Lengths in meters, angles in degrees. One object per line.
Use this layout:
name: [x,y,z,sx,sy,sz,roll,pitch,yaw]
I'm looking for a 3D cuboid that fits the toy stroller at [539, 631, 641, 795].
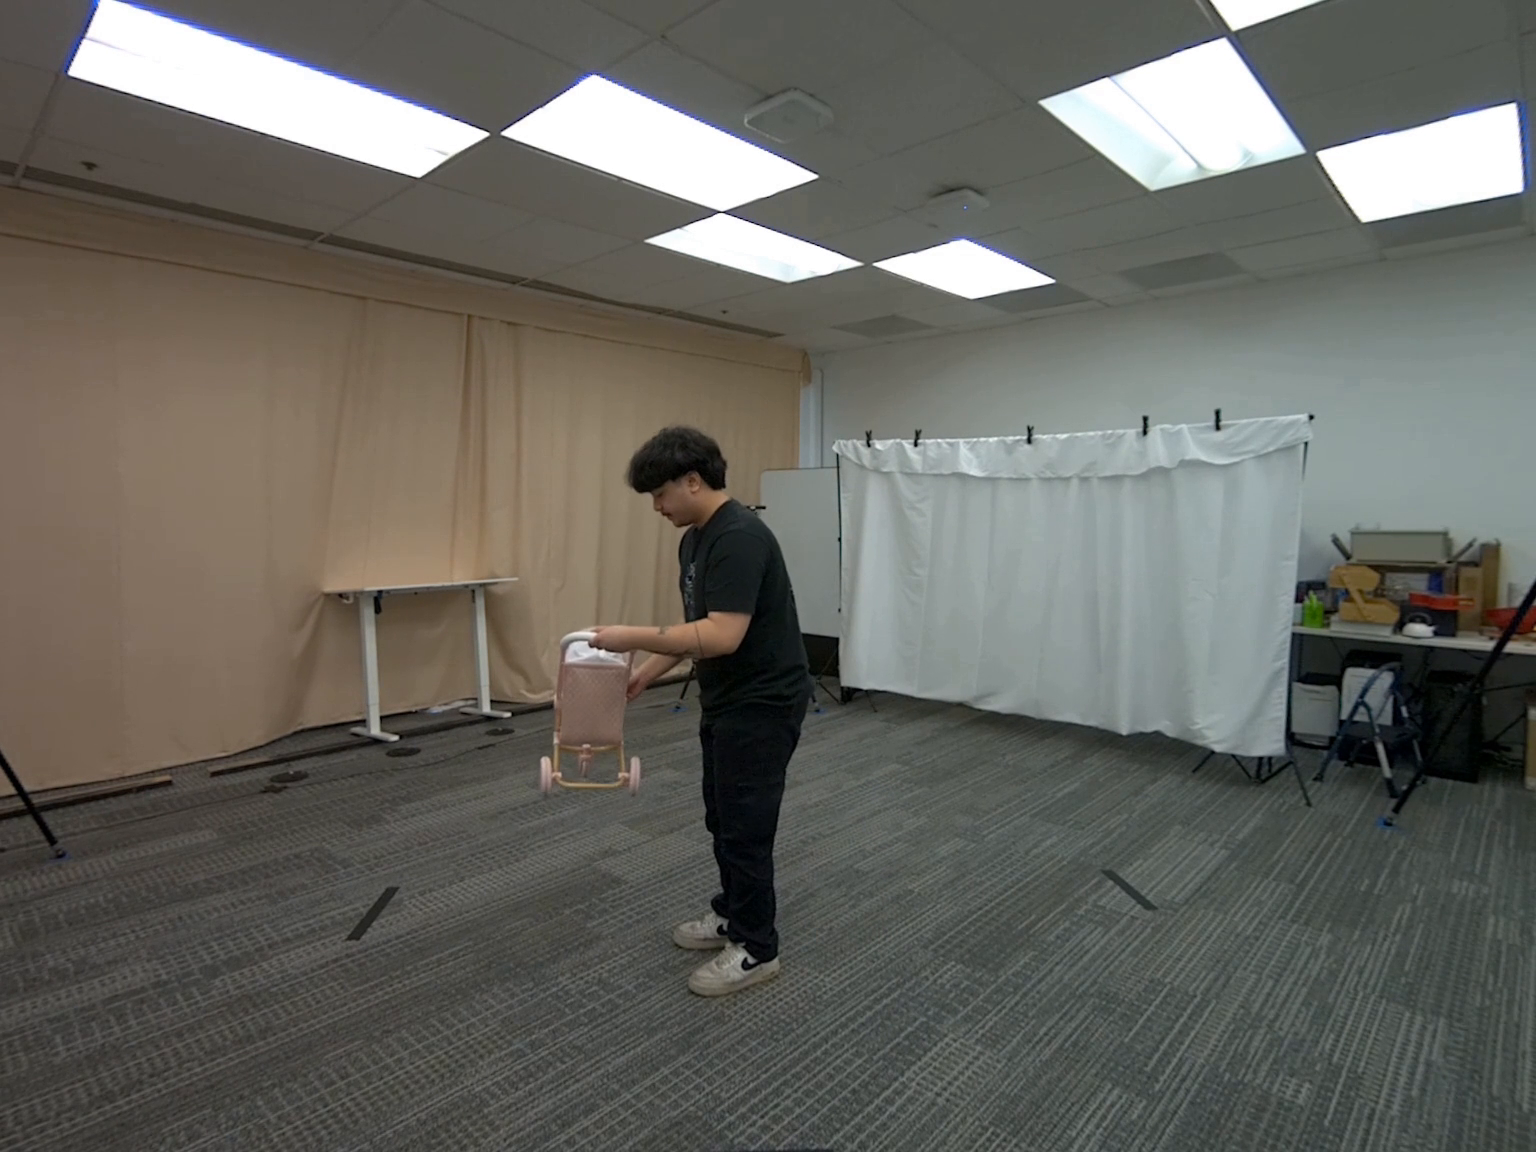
toy stroller: [-0.506,0.396,2.455,0.278,0.532,0.347,2,9,-11]
